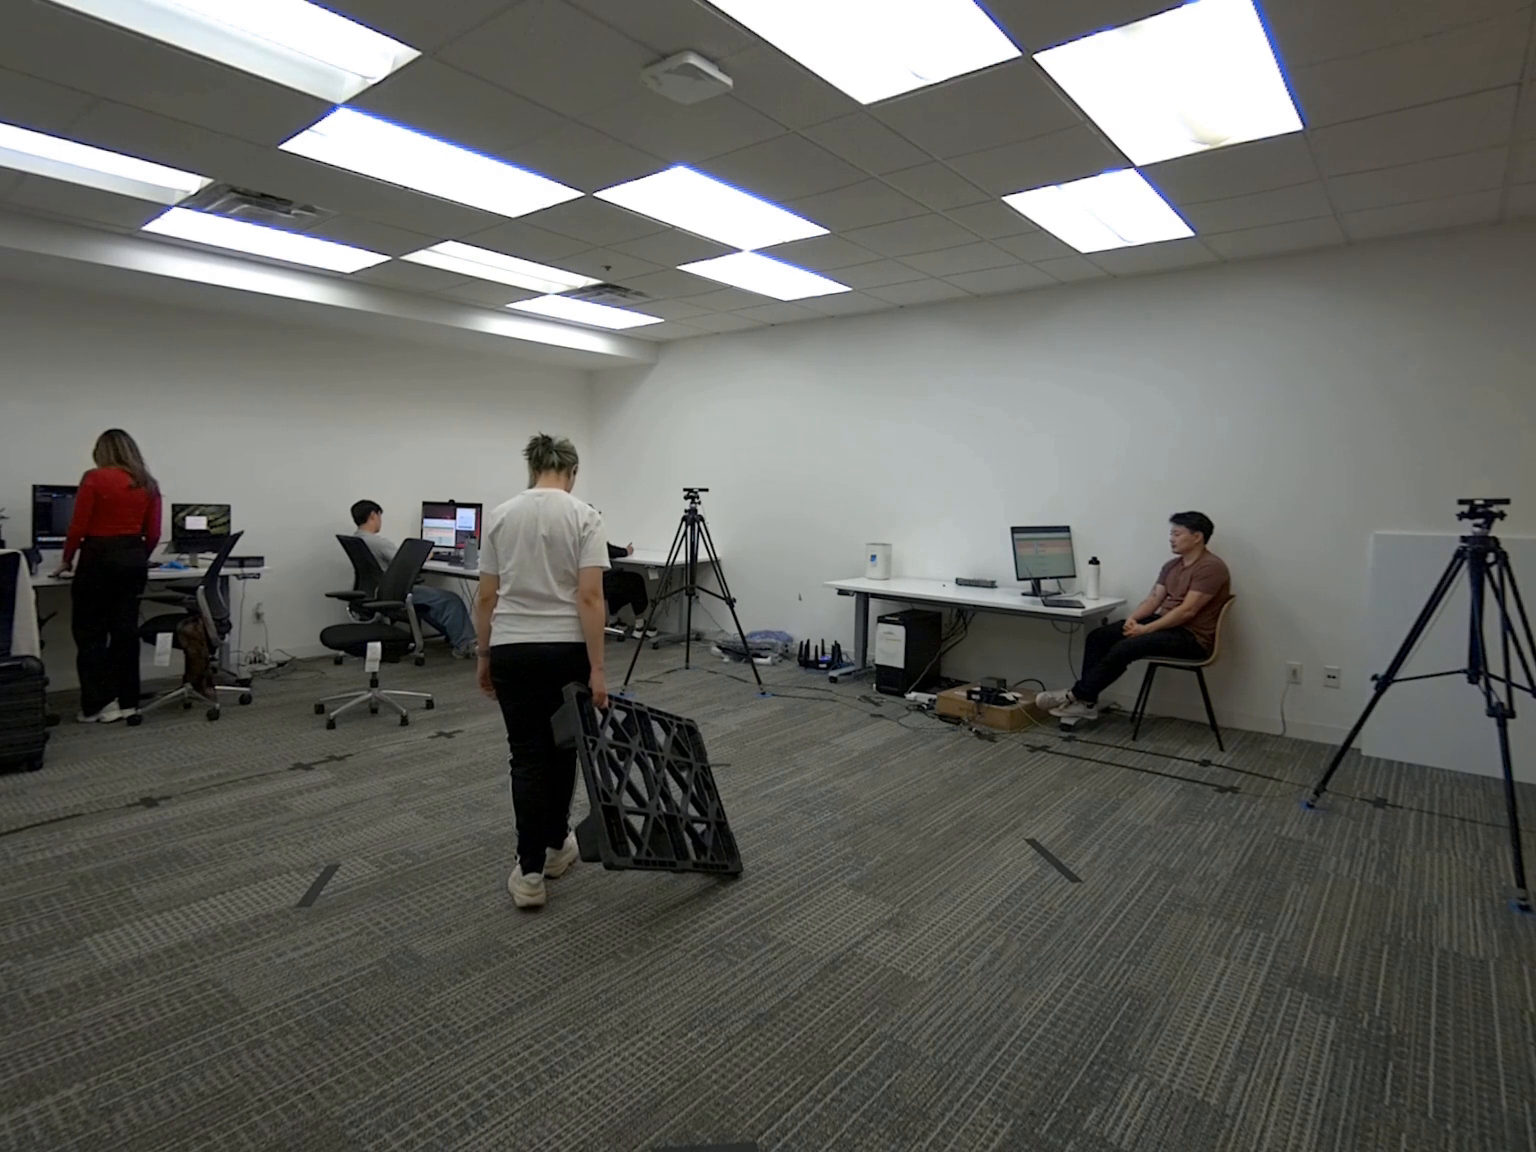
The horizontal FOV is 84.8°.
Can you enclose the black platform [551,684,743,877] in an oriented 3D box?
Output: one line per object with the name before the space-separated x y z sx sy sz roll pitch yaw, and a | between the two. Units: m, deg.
black platform | -0.422 0.734 2.927 0.144 0.626 0.774 -32 -31 16
